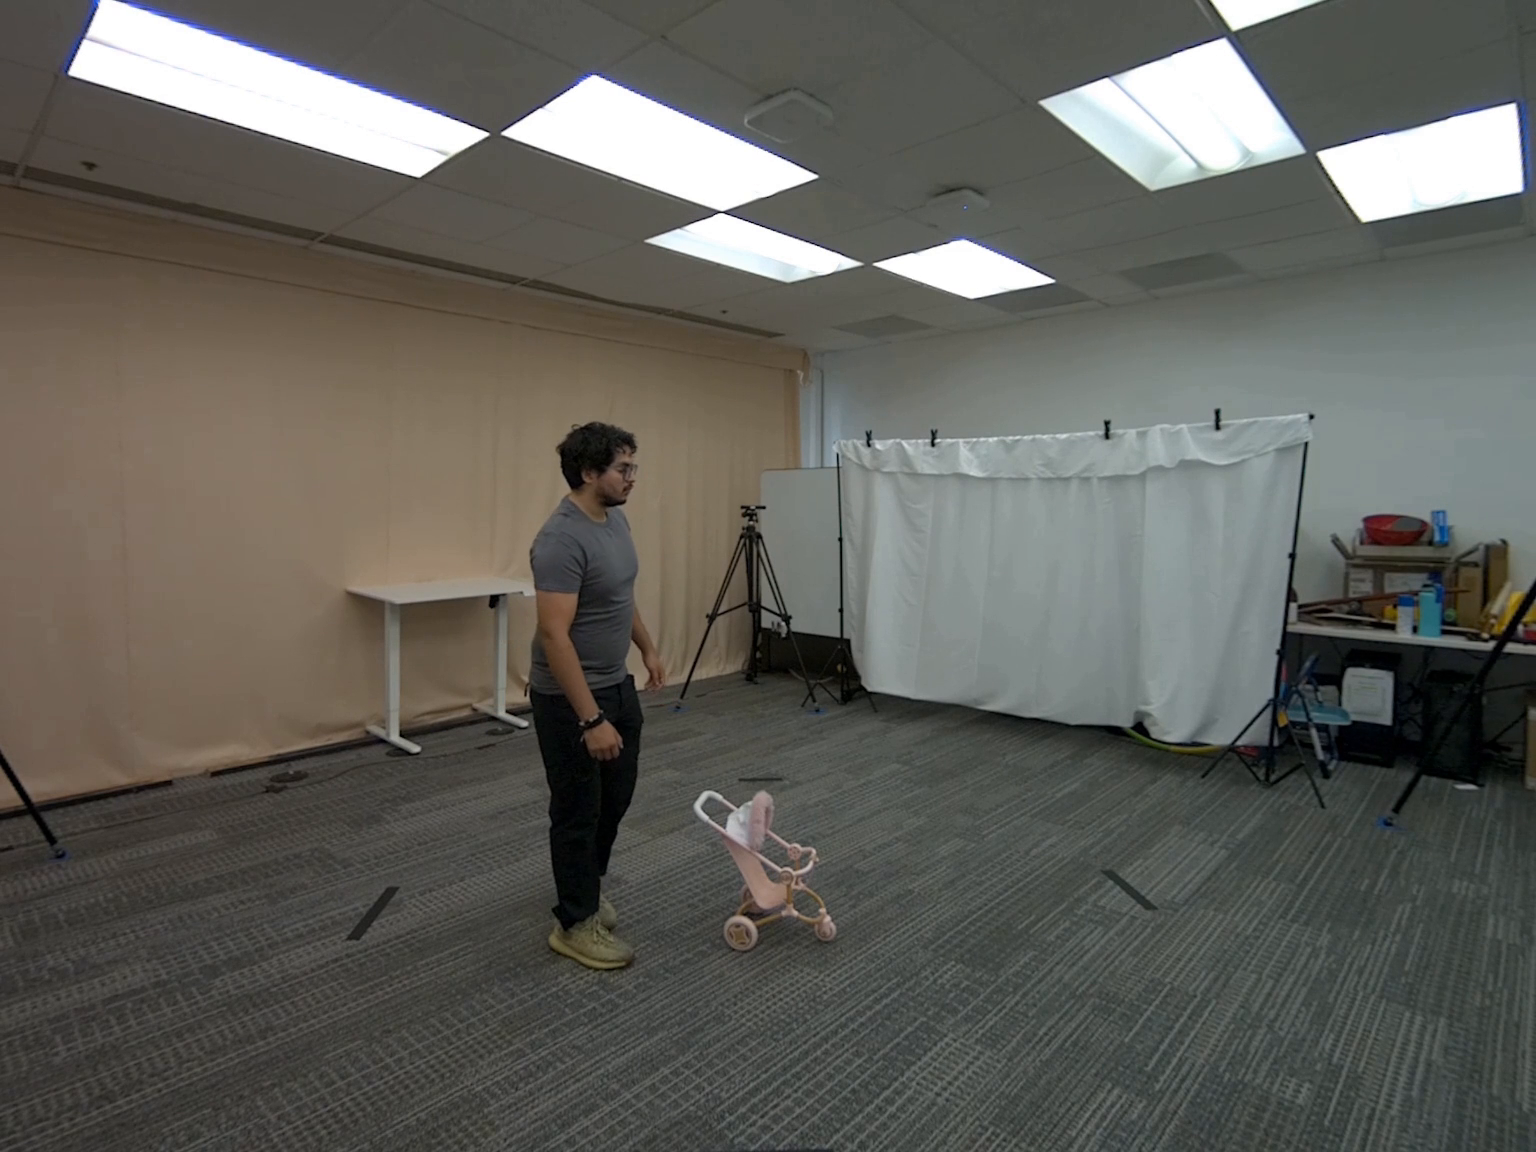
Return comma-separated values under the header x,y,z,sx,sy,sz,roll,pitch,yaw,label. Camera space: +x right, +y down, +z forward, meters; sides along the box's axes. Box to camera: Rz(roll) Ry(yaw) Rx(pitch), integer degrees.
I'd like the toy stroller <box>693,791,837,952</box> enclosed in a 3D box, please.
x,y,z,sx,sy,sz,roll,pitch,yaw,label
0.001,0.946,2.721,0.346,0.536,0.277,-16,-2,17,toy stroller
